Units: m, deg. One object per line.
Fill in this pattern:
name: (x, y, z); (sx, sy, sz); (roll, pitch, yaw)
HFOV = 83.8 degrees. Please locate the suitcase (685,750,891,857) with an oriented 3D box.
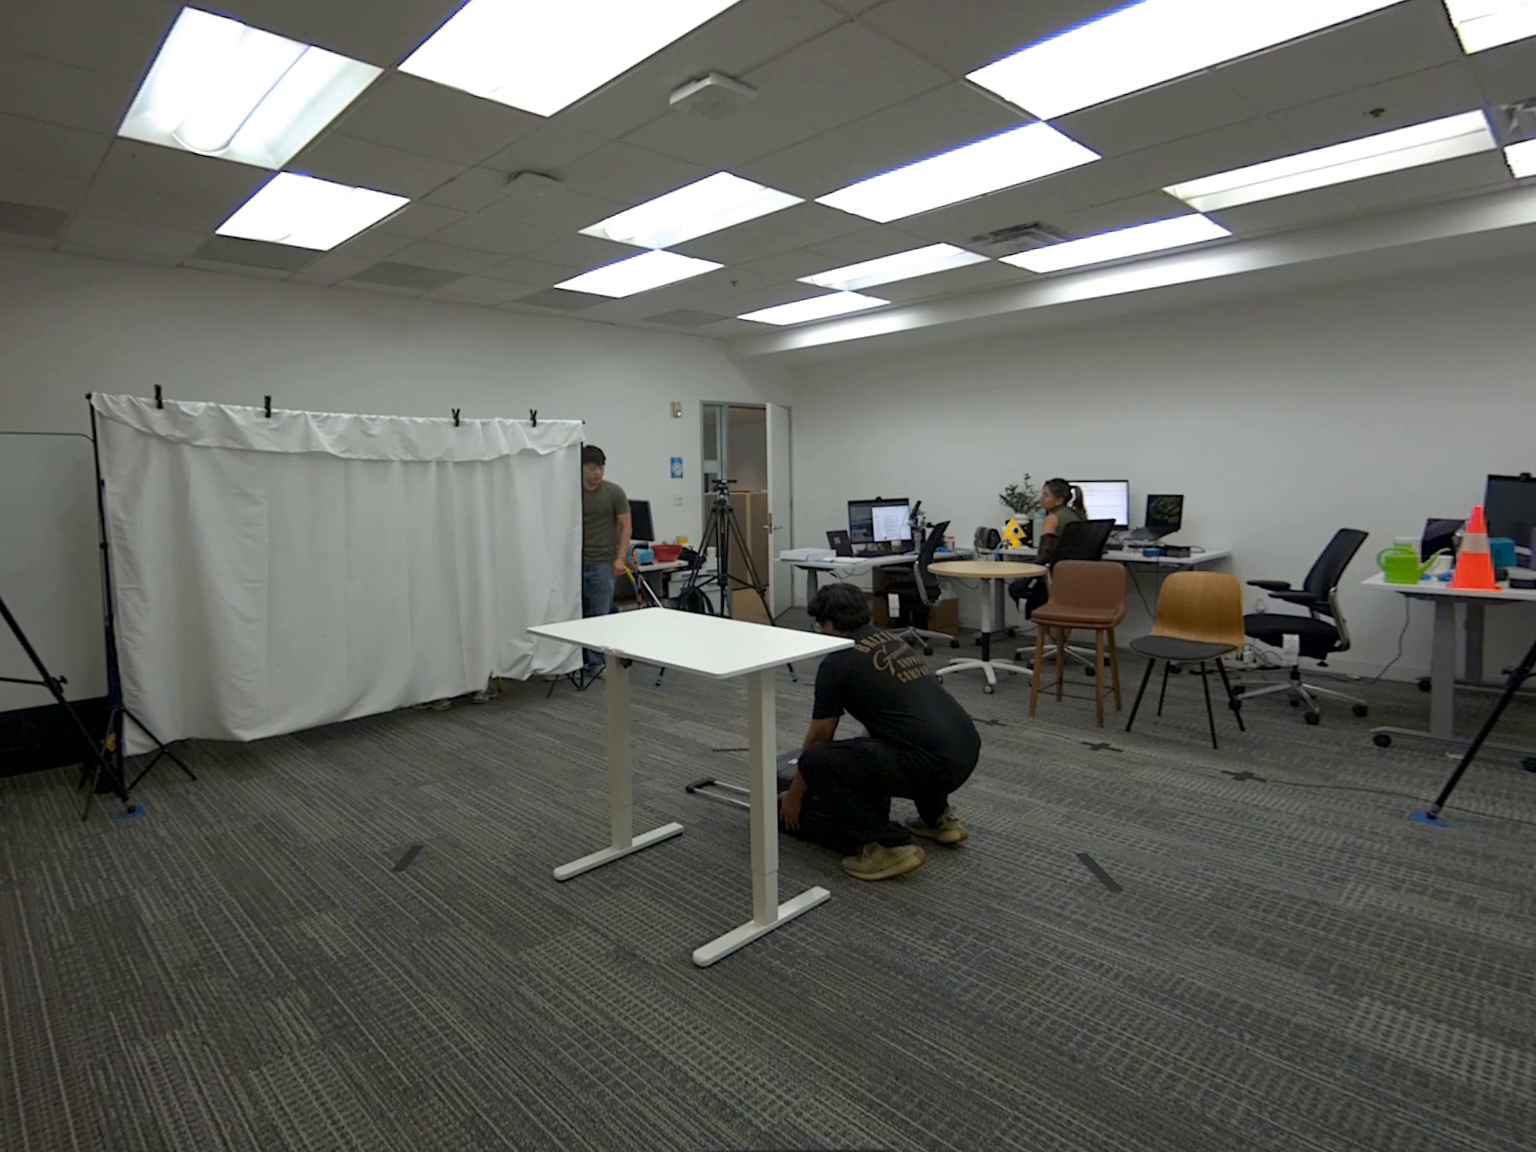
suitcase: (0.059, 0.871, 3.578); (1.010, 0.255, 0.374); (7, 10, 41)
